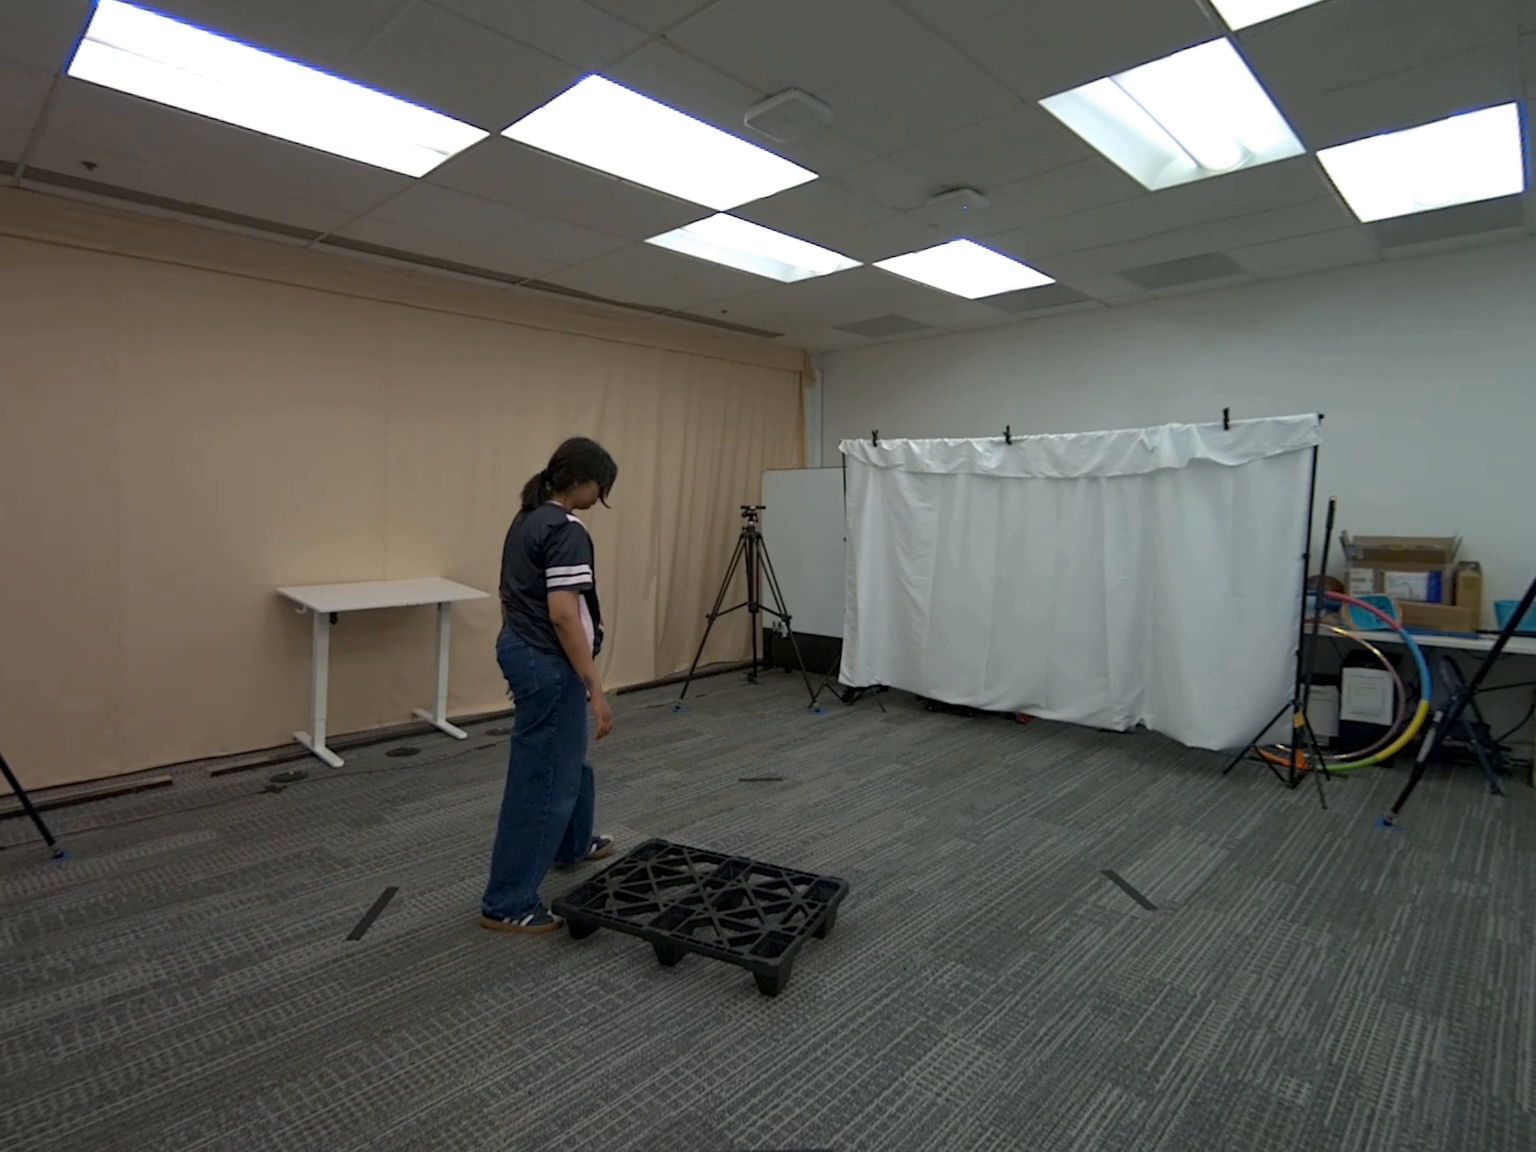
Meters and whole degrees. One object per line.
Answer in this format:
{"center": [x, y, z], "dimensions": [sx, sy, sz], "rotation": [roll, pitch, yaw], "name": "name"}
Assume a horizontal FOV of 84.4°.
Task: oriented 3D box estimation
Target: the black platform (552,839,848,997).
{"center": [-0.205, 1.098, 2.748], "dimensions": [0.827, 0.143, 0.590], "rotation": [2, 6, 27], "name": "black platform"}
